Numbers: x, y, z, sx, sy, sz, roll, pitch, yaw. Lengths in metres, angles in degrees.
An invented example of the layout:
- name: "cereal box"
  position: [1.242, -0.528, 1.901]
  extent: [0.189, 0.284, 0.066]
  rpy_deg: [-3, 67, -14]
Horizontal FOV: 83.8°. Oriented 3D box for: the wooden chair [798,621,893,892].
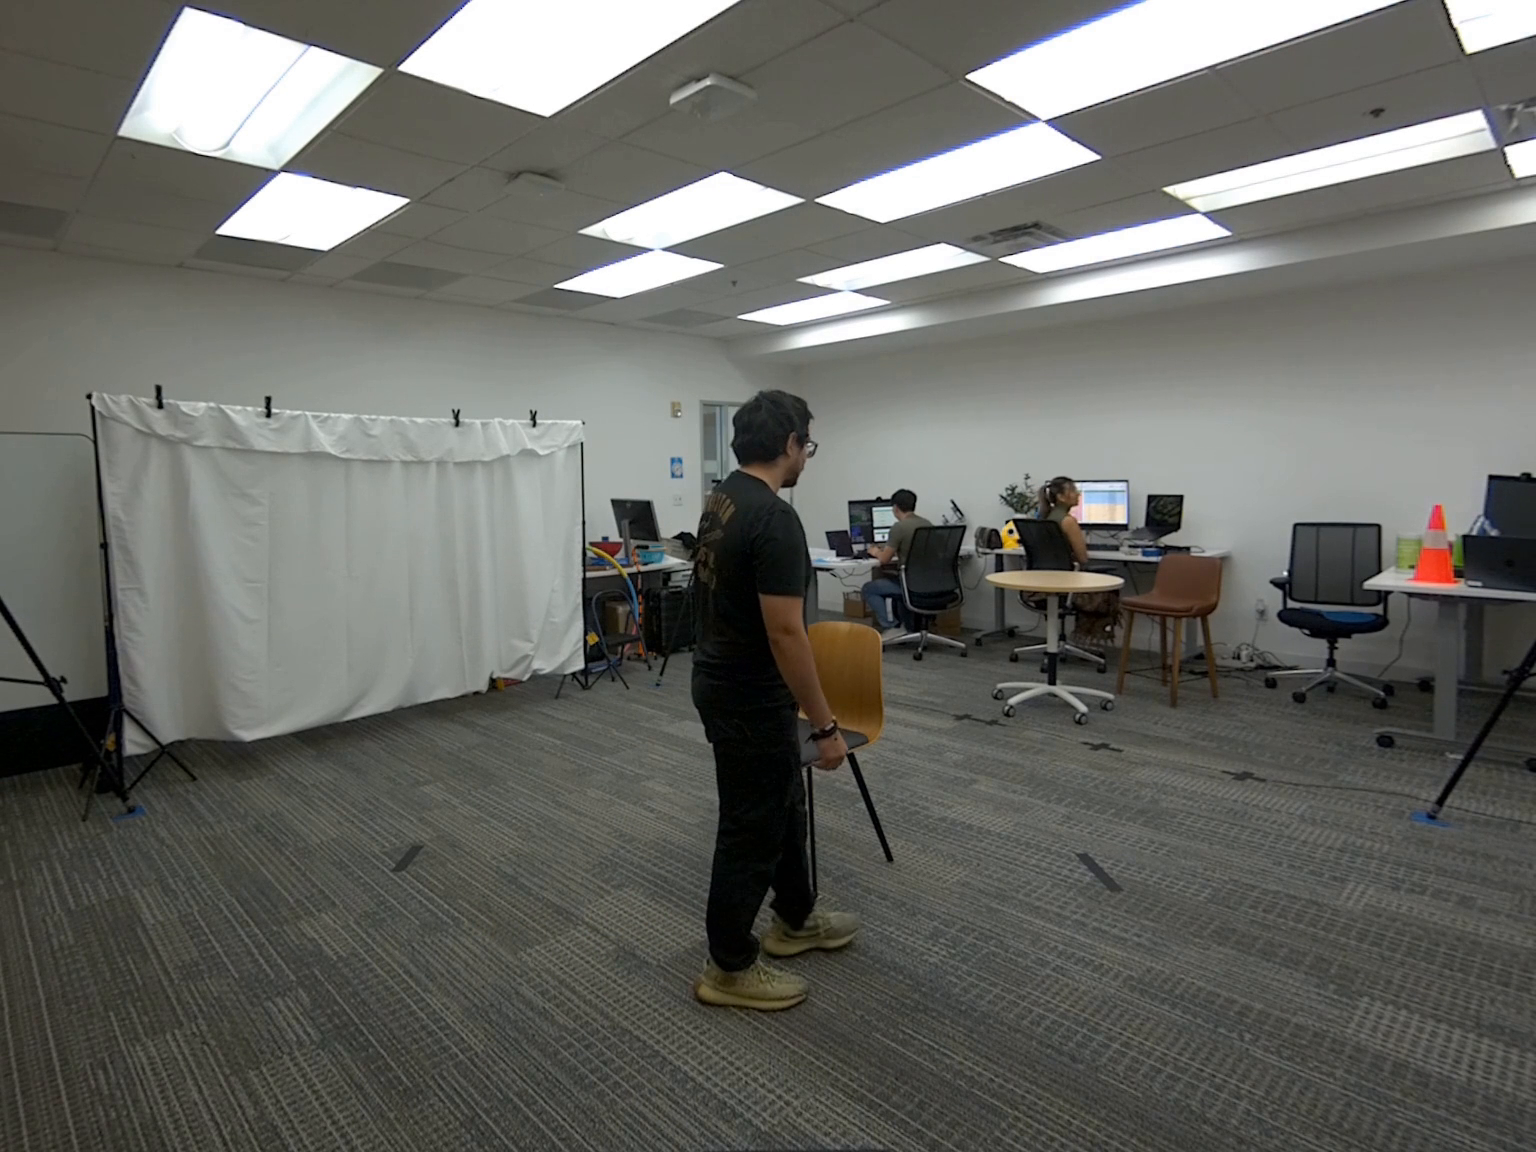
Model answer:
- name: "wooden chair"
  position: [0.131, 0.620, 3.070]
  extent: [0.493, 0.877, 0.508]
  rpy_deg: [3, 2, 44]
